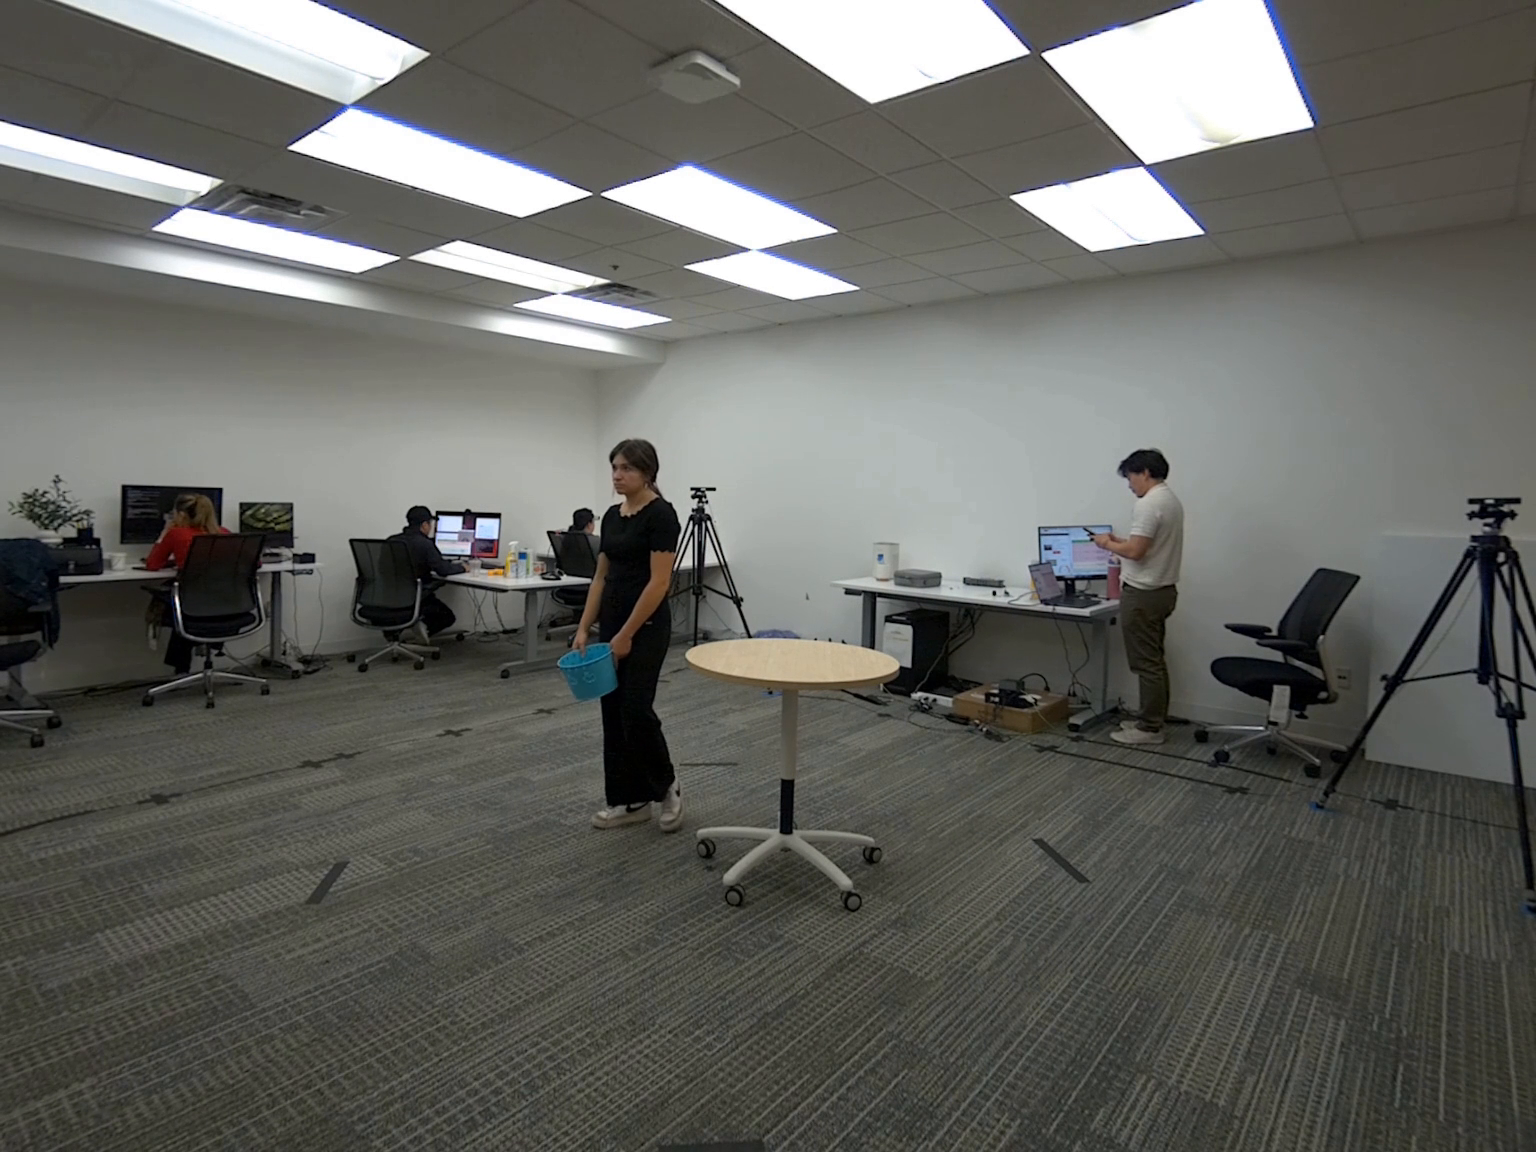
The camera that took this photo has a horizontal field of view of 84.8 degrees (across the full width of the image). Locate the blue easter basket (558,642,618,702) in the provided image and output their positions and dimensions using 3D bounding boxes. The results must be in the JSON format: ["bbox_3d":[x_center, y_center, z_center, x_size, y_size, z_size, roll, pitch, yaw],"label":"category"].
[{"bbox_3d":[-0.722,0.370,3.366,0.244,0.154,0.246,-13,12,1],"label":"blue easter basket"}]
